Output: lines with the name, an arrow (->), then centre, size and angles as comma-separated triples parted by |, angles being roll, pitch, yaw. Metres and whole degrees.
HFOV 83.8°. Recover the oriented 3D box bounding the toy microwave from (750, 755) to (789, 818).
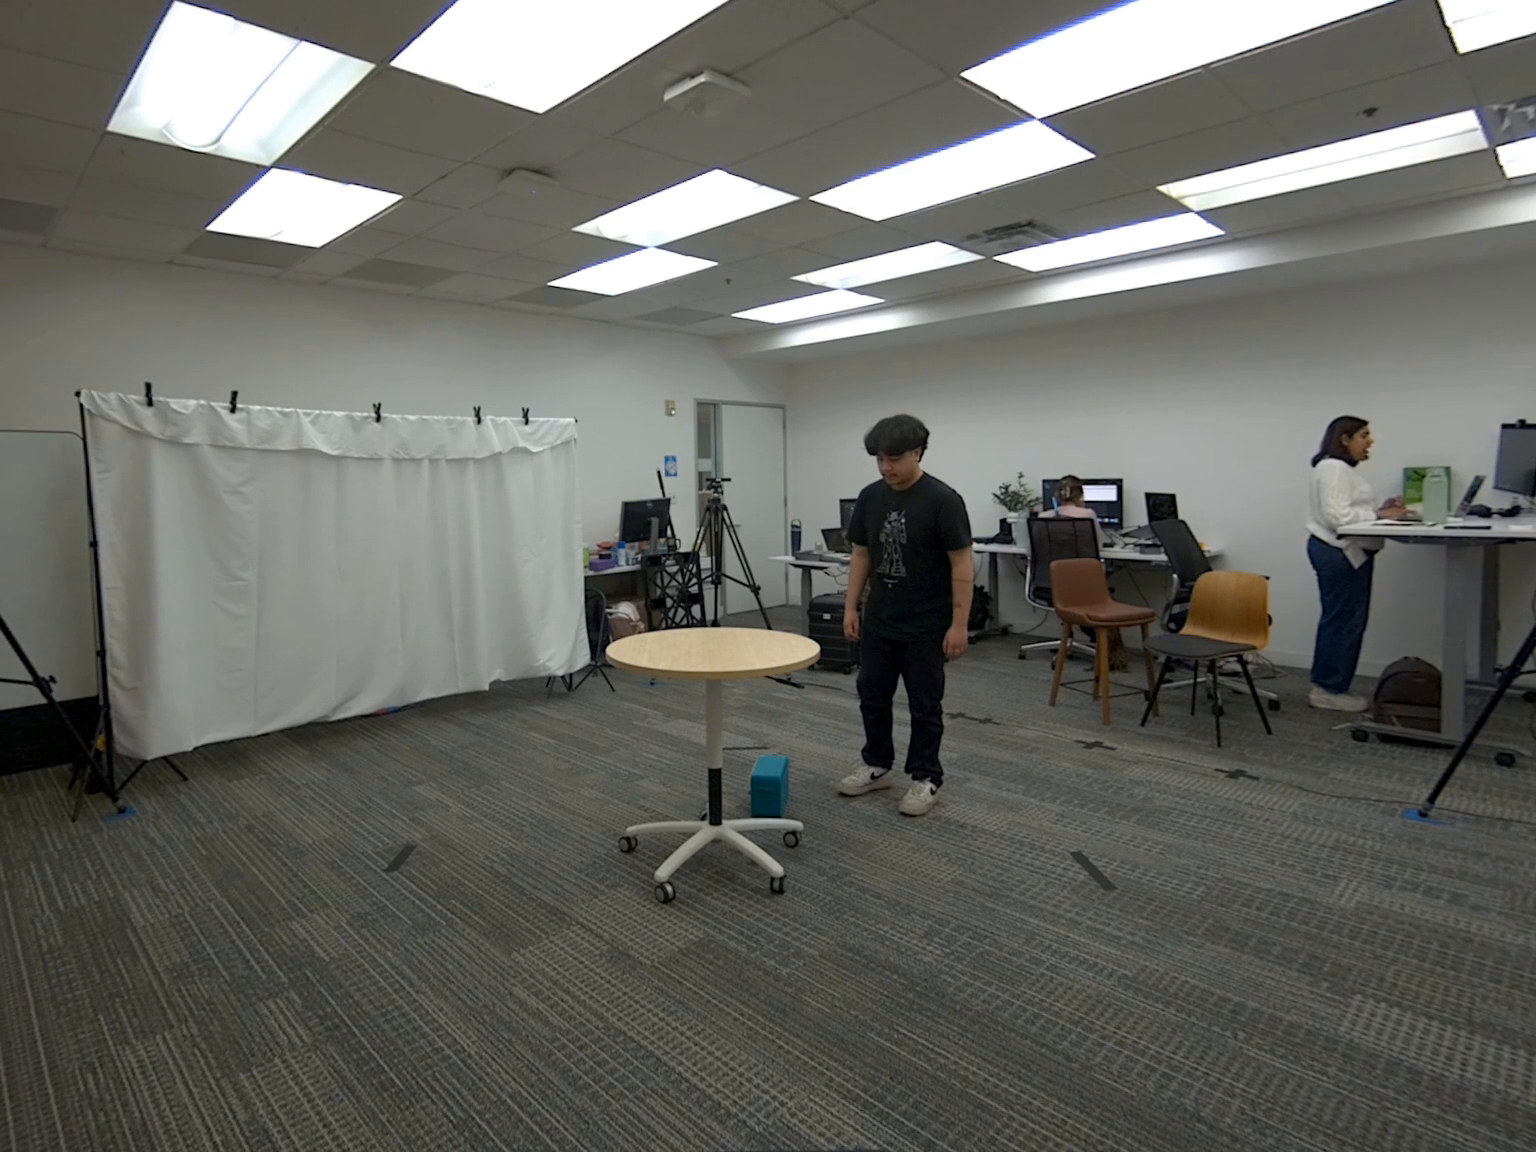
toy microwave -> -0.003, 0.886, 3.625 | 0.154, 0.183, 0.285 | 1, 6, 9
